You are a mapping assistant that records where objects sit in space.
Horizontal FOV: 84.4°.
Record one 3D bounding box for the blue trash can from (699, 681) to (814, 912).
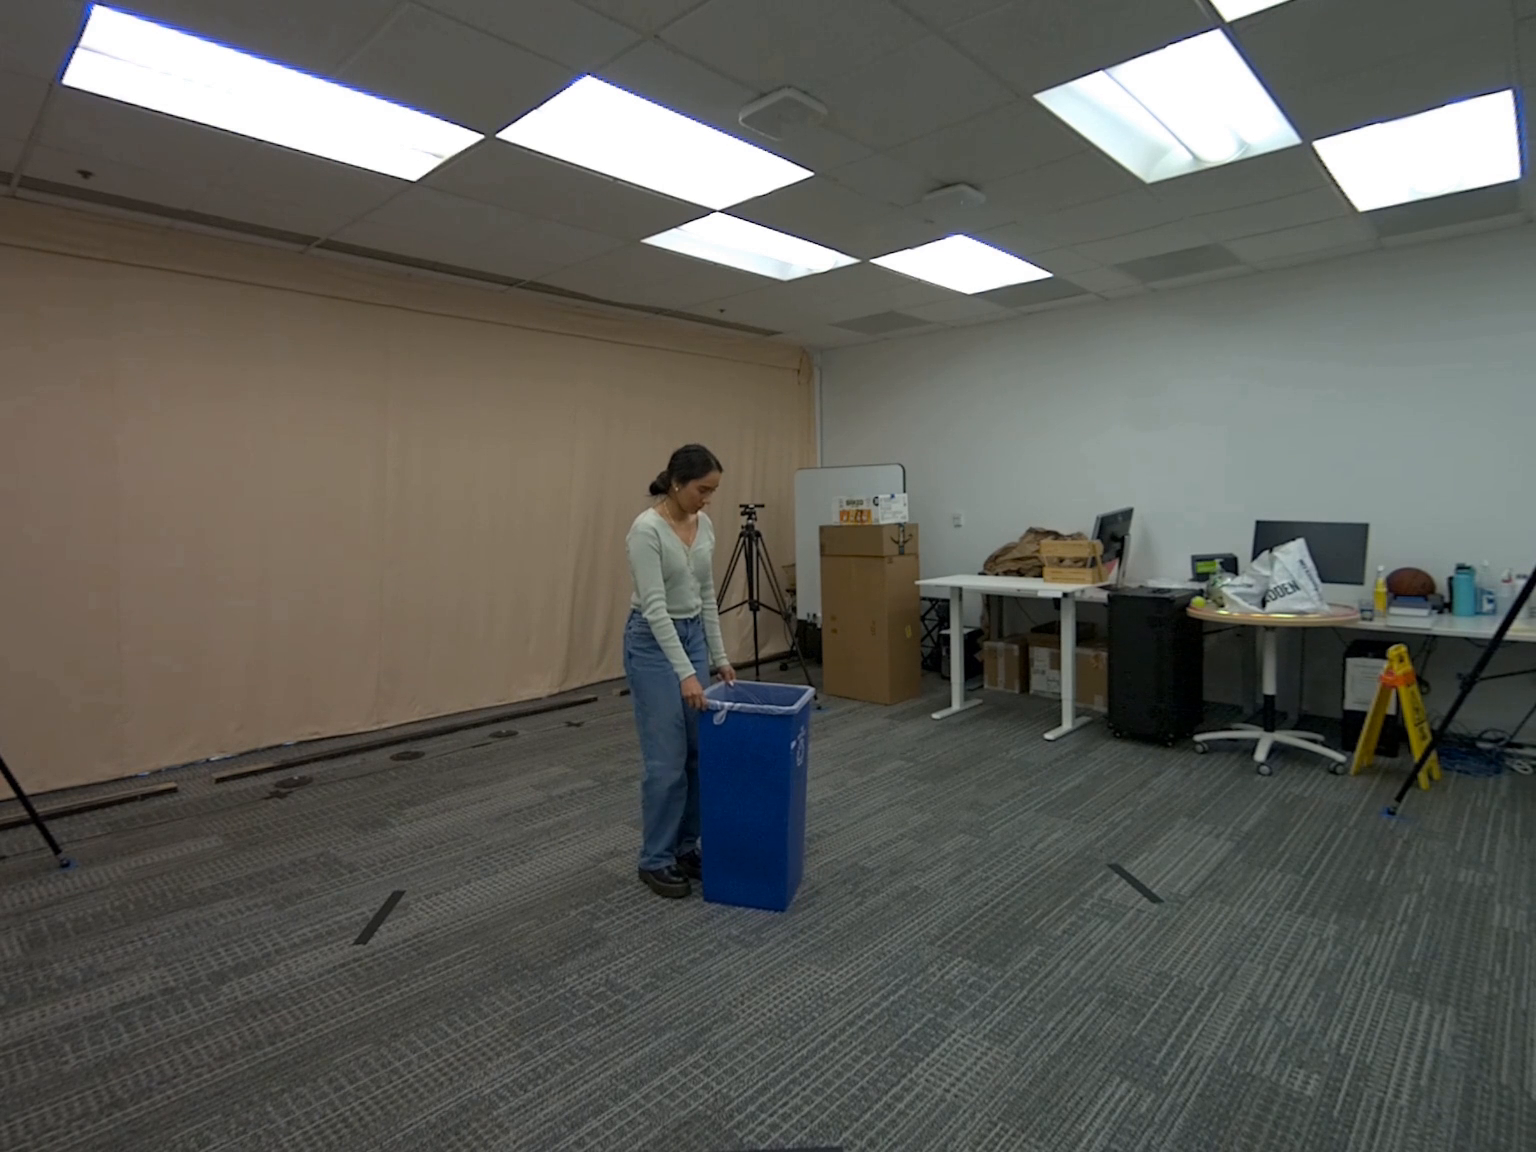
[{"bbox_3d":[-0.048,0.773,3.039,0.385,0.712,0.368,1,4,16],"label":"blue trash can"}]
